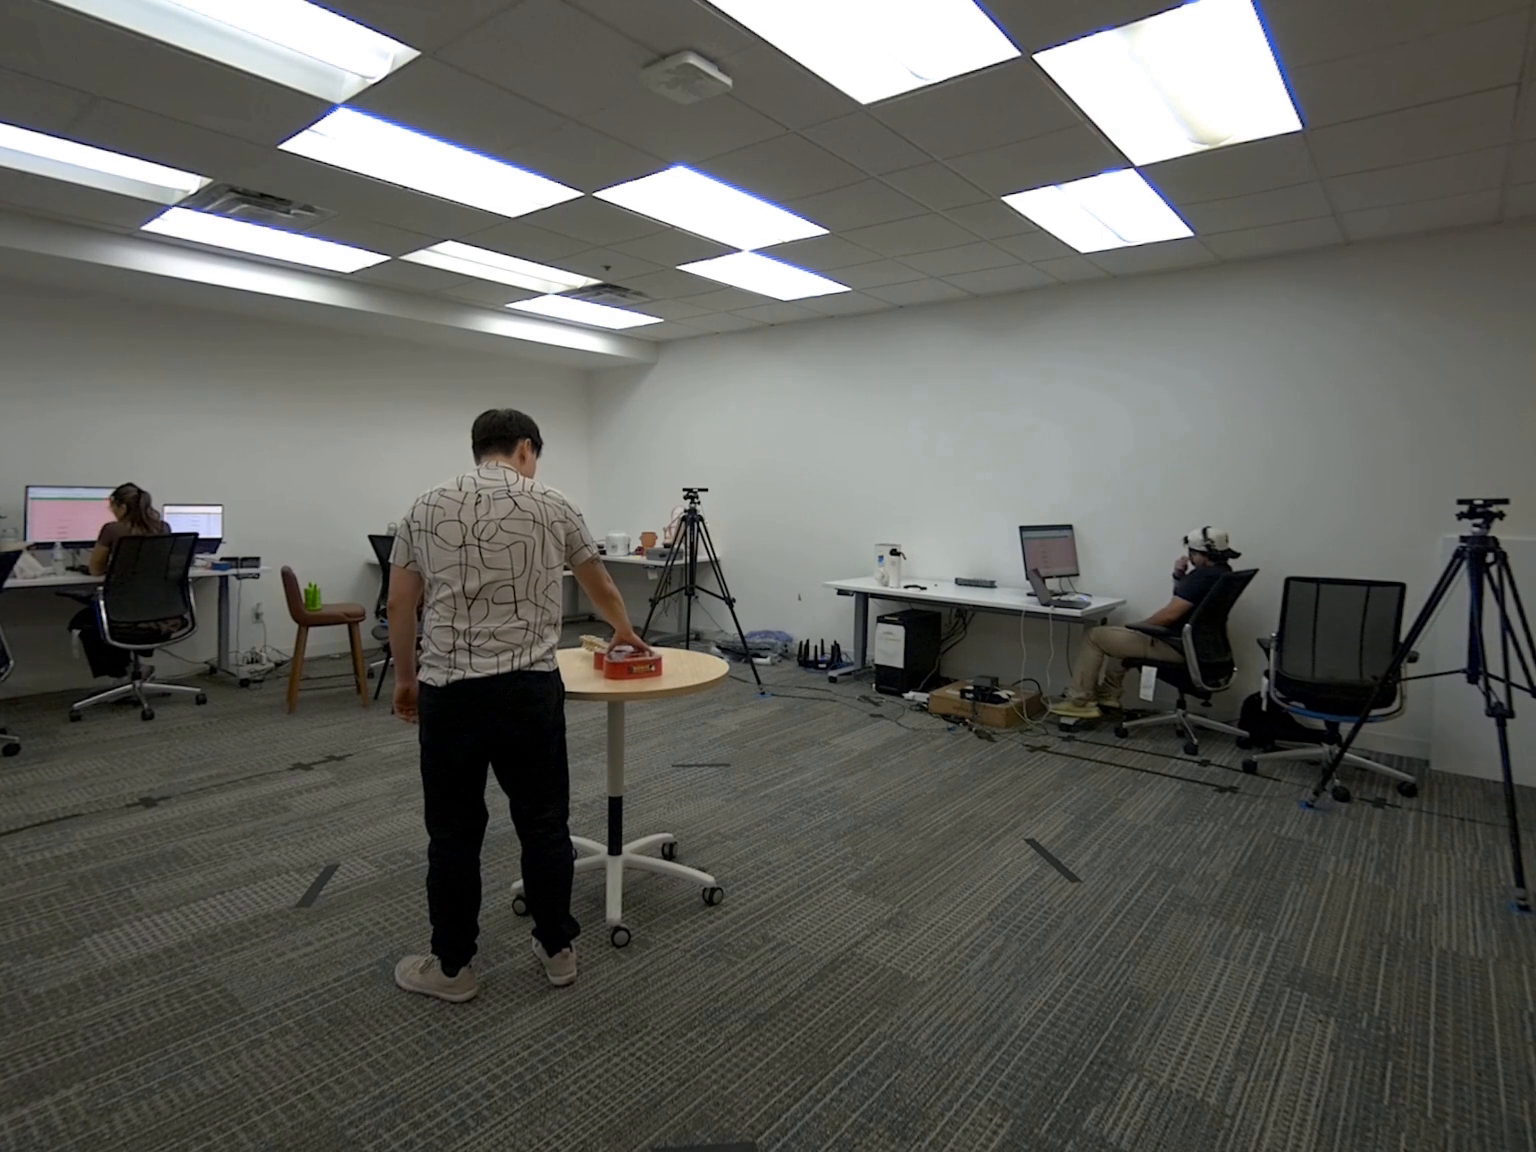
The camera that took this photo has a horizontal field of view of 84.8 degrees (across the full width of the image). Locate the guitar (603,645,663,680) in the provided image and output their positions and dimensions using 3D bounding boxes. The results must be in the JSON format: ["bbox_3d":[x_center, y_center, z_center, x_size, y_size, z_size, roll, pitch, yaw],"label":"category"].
[{"bbox_3d":[-0.523,0.267,2.906,0.189,0.070,0.510,-2,7,-22],"label":"guitar"}]
